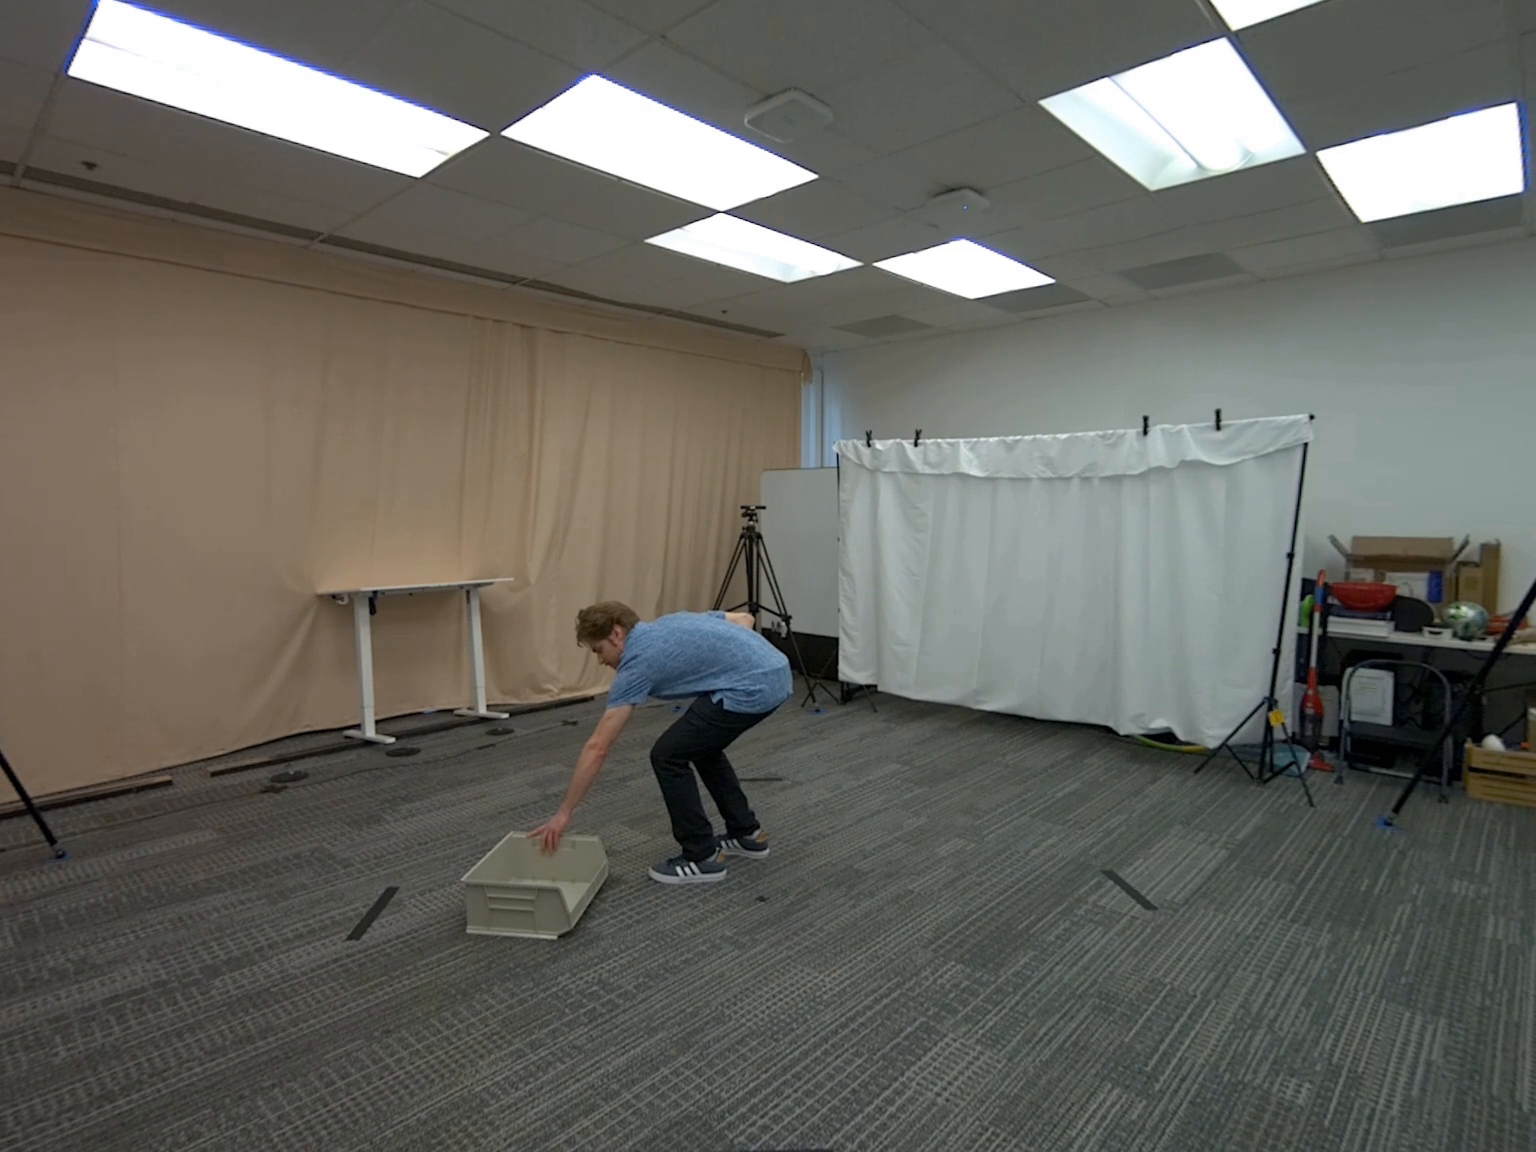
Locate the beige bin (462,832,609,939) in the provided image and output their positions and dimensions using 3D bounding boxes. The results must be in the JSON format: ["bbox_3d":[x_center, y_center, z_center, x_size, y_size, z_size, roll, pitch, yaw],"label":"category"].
[{"bbox_3d":[-0.799,1.066,2.928,0.381,0.188,0.420,-1,5,7],"label":"beige bin"}]
